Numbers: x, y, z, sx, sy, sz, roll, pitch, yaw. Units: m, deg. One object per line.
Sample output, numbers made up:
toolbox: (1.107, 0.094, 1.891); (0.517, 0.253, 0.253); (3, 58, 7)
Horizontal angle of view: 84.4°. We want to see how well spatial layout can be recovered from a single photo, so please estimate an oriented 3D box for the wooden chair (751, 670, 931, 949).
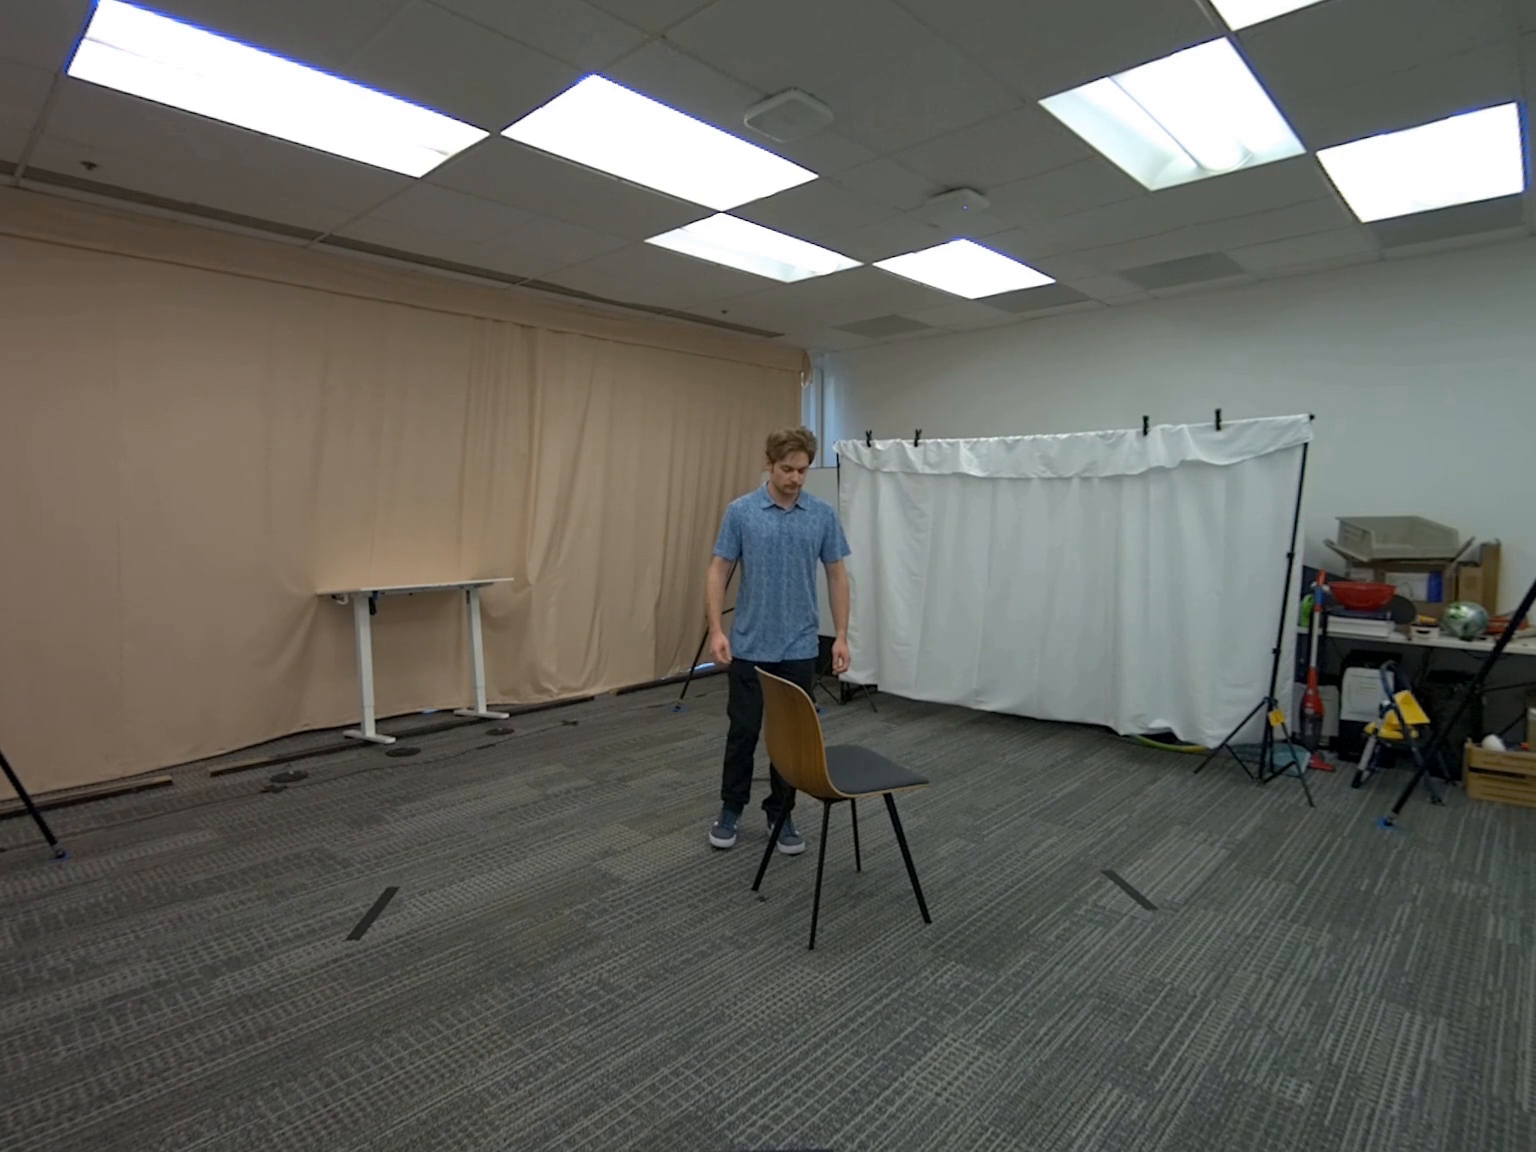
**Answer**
wooden chair: (0.255, 0.722, 2.900); (0.512, 0.874, 0.490); (-6, 5, -23)
